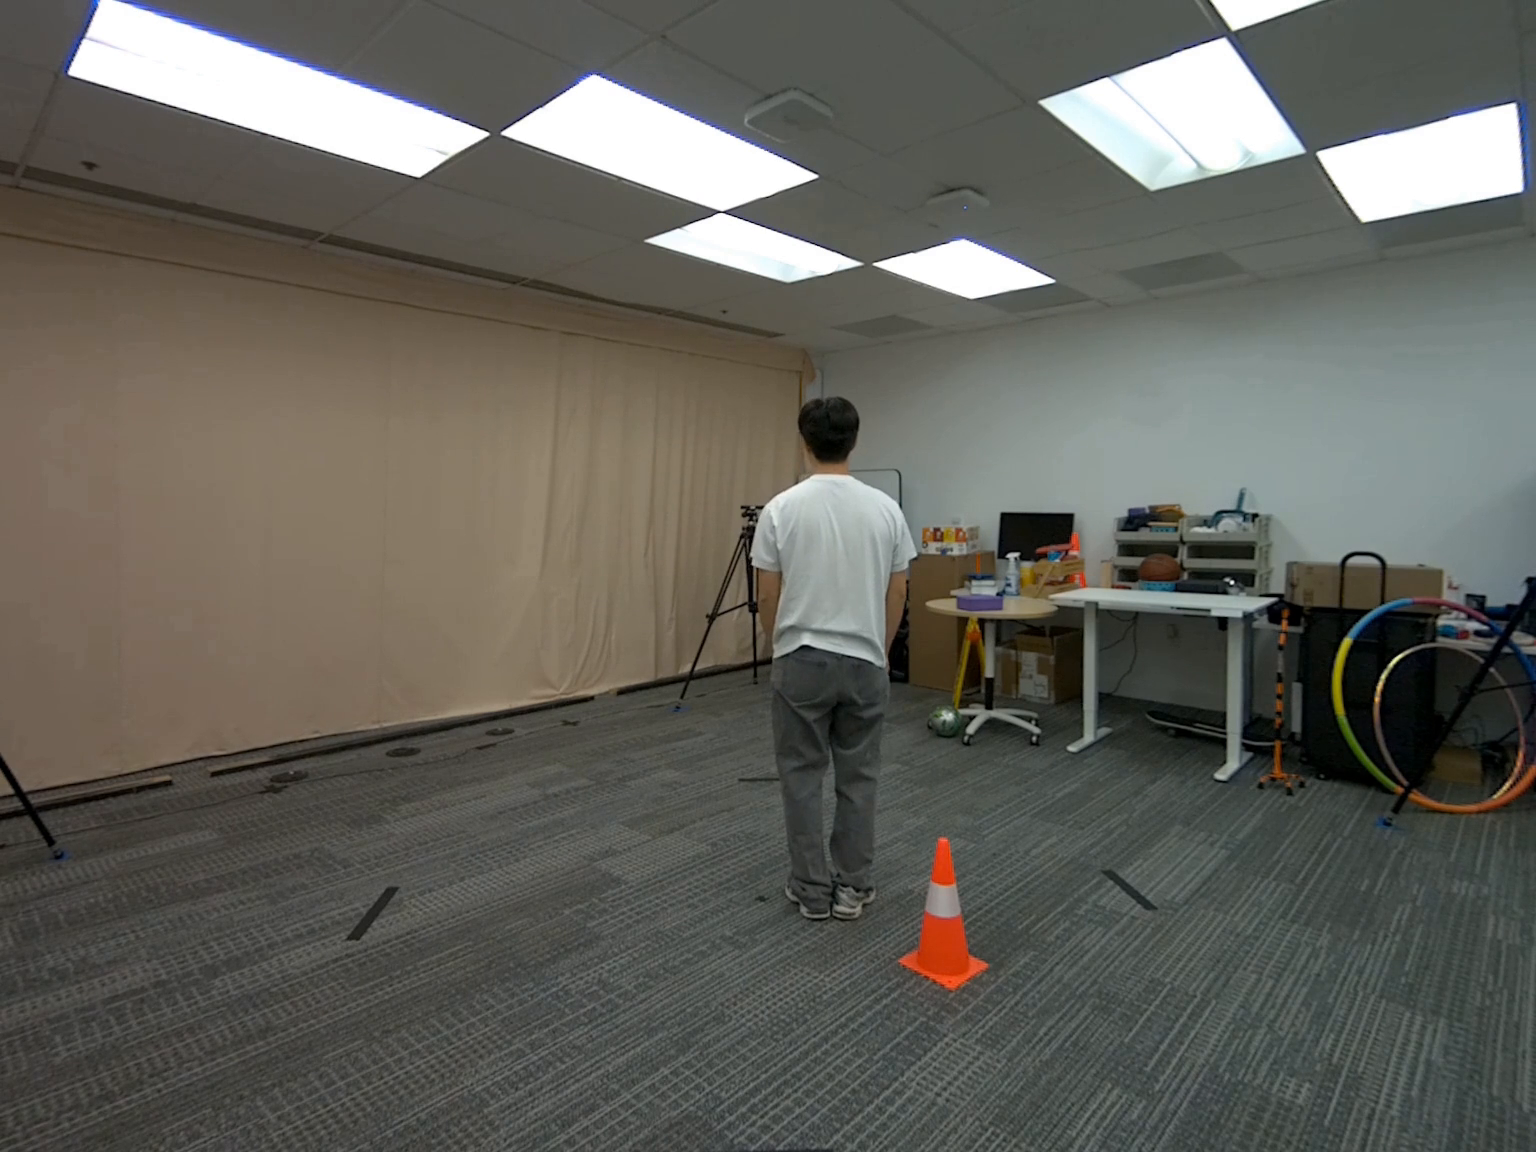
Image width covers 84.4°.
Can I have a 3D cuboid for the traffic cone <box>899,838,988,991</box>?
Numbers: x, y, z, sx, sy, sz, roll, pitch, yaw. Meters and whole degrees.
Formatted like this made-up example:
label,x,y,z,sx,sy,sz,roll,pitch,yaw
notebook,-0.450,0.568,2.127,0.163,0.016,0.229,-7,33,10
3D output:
label,x,y,z,sx,sy,sz,roll,pitch,yaw
traffic cone,0.541,0.995,2.555,0.197,0.383,0.211,-2,2,-34
